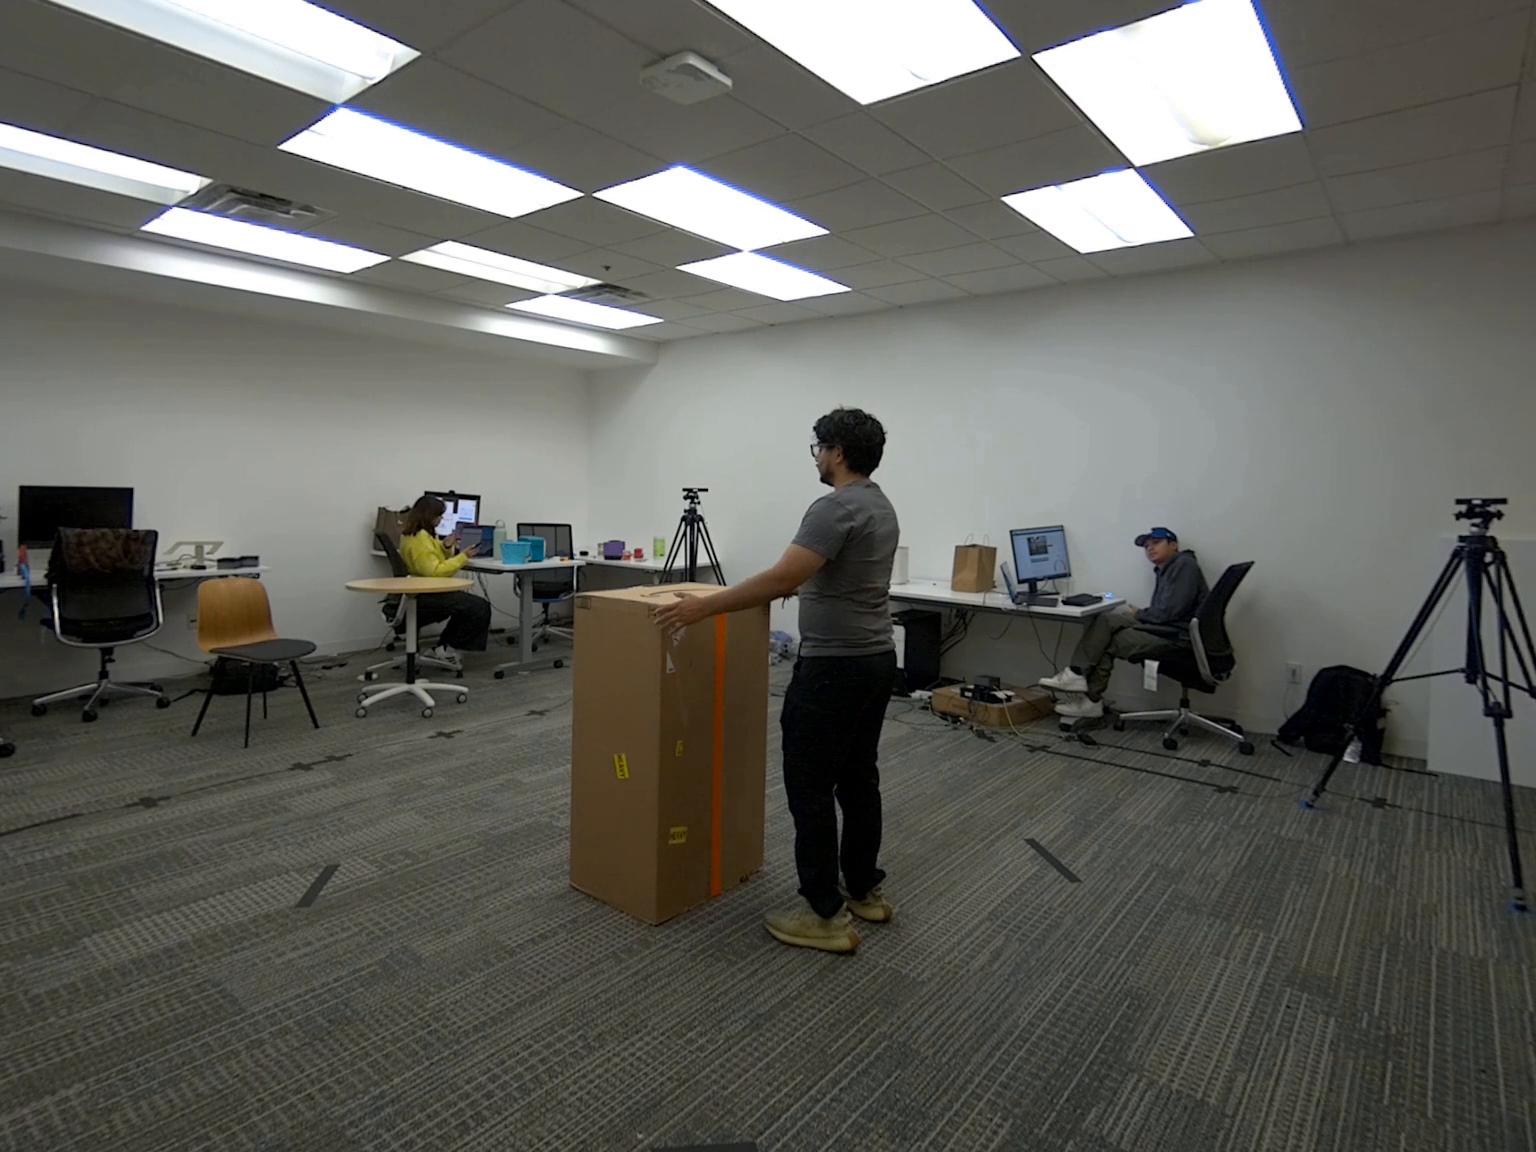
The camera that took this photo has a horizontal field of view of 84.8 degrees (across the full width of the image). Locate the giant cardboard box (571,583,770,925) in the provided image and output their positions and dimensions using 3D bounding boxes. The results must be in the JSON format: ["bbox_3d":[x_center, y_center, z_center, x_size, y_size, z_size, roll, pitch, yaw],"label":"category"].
[{"bbox_3d":[-0.350,0.568,3.019,0.440,1.023,0.560,3,4,39],"label":"giant cardboard box"}]
